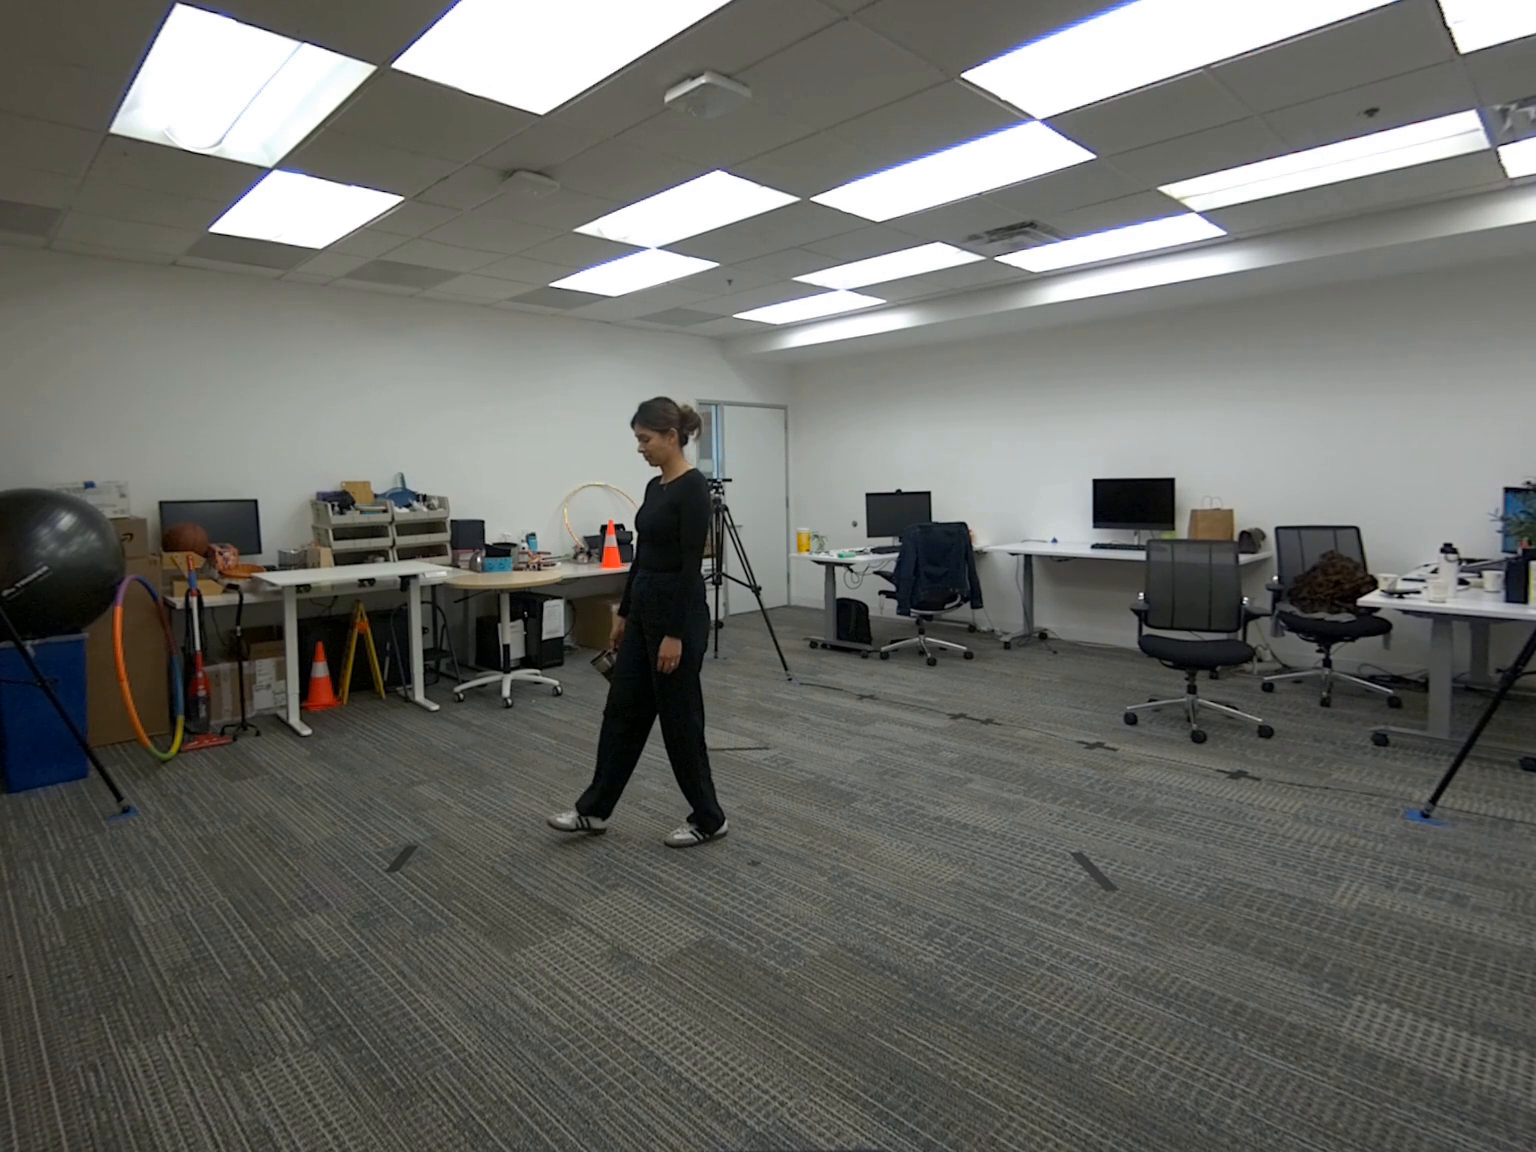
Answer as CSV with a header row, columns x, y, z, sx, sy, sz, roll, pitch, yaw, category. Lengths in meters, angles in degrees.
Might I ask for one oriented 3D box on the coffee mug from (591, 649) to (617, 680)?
x,y,z,sx,sy,sz,roll,pitch,yaw,category
-0.616,0.388,3.487,0.121,0.202,0.088,-43,4,-35,coffee mug
